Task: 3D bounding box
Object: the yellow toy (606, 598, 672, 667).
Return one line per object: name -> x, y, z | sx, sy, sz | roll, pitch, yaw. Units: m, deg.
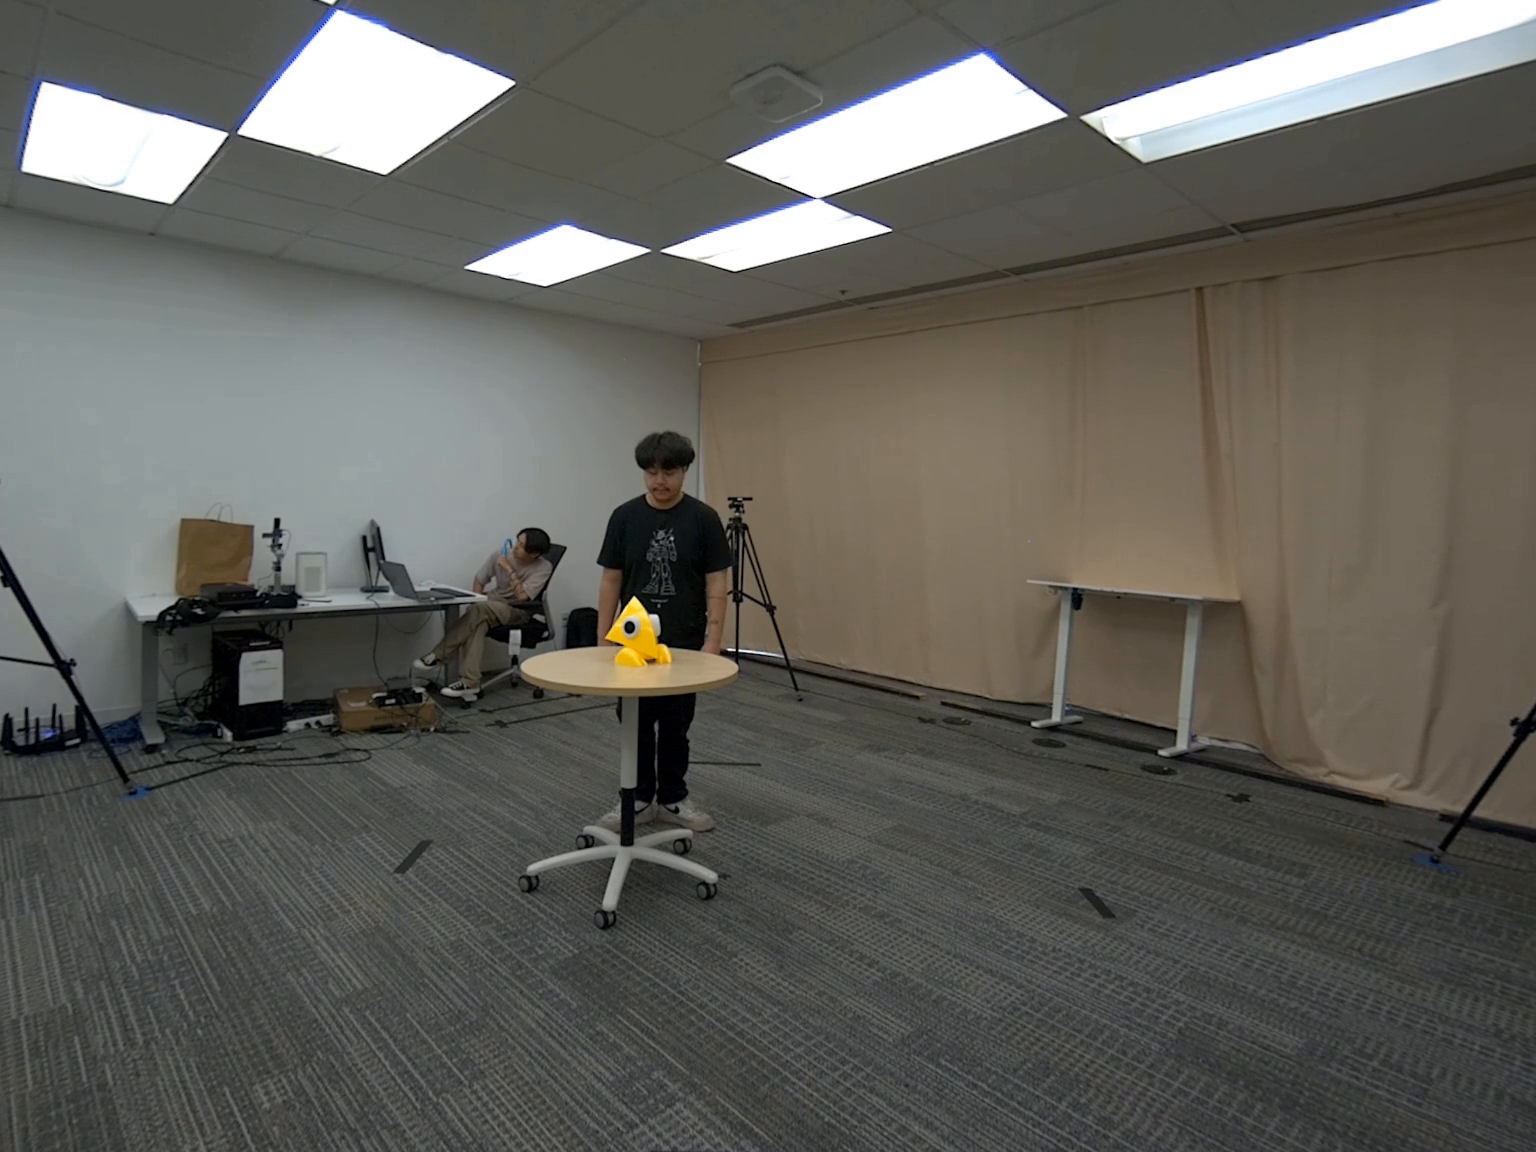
yellow toy -> -0.471, 0.196, 3.068 | 0.200, 0.230, 0.198 | -2, 6, -42
